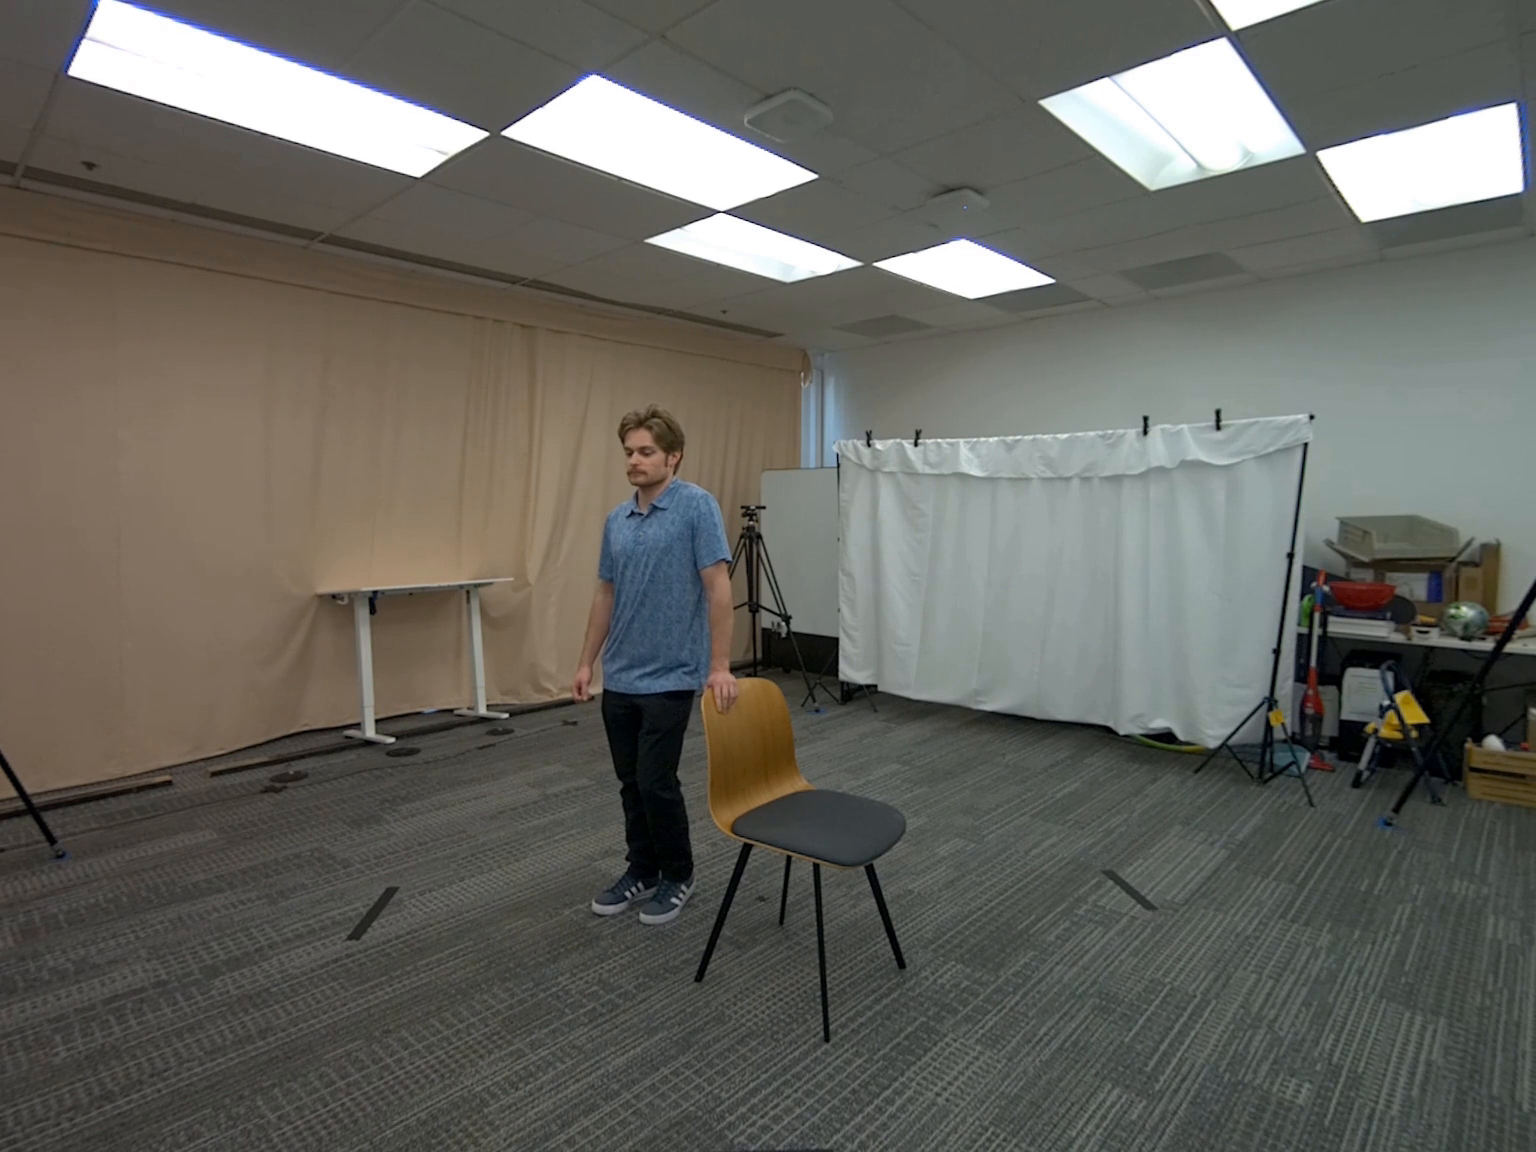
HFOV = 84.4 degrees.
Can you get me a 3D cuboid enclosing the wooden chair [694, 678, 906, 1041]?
[{"bbox_3d":[0.111,0.758,2.466,0.539,0.877,0.464,-3,0,37],"label":"wooden chair"}]
